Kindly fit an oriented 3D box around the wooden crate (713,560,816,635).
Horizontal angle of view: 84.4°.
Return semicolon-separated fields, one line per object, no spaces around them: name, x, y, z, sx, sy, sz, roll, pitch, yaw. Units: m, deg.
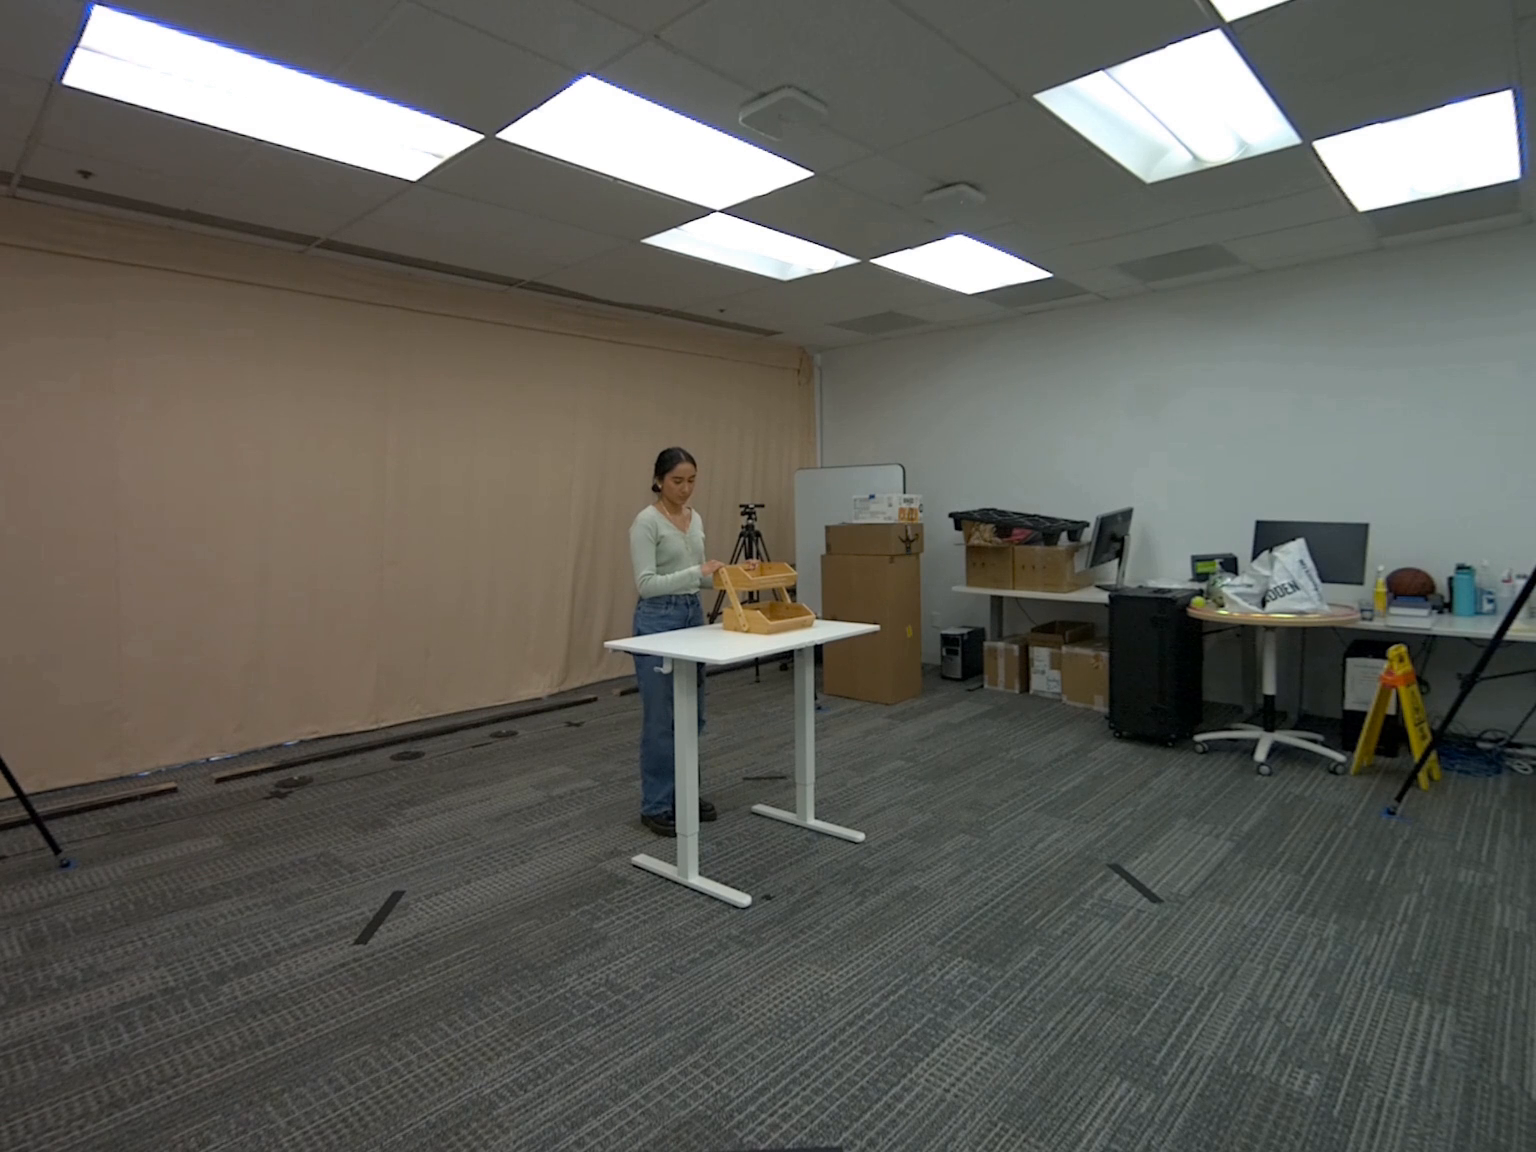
wooden crate;-0.011;0.084;3.487;0.312;0.273;0.315;2;5;42
